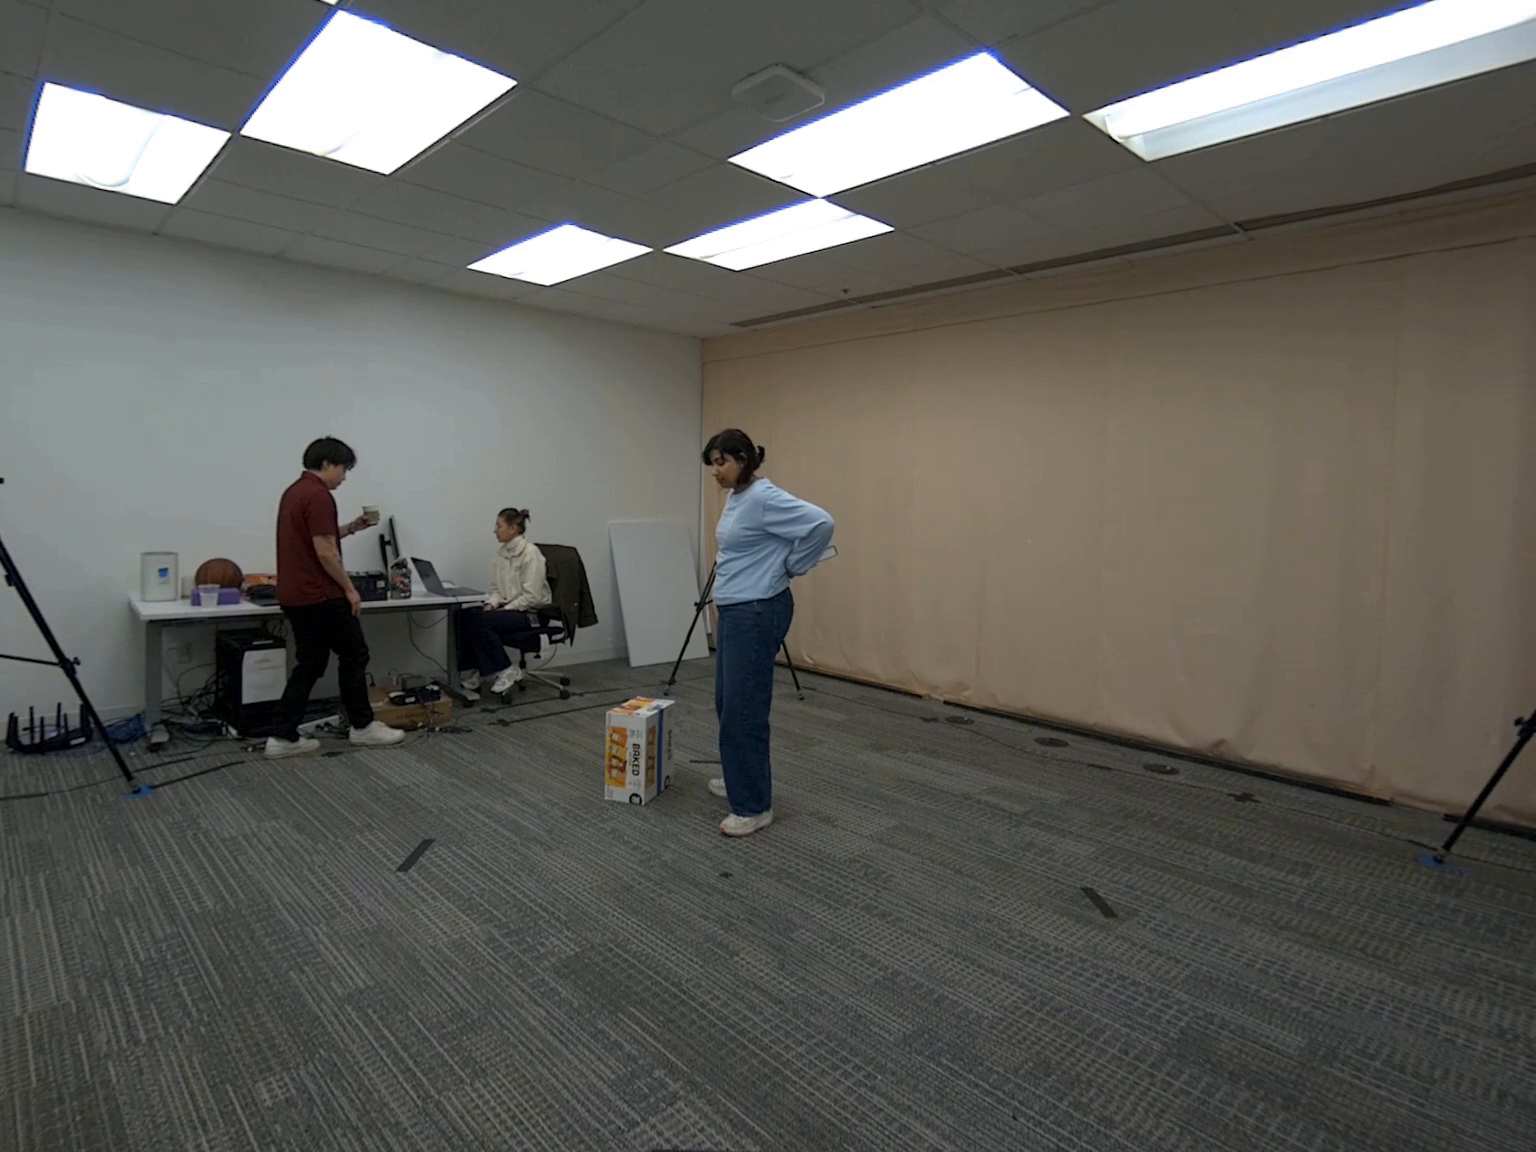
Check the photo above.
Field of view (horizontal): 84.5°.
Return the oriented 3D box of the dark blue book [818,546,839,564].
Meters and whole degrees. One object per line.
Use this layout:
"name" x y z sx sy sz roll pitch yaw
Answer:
"dark blue book" 0.184 -0.073 3.652 0.162 0.045 0.246 -19 1 -12
